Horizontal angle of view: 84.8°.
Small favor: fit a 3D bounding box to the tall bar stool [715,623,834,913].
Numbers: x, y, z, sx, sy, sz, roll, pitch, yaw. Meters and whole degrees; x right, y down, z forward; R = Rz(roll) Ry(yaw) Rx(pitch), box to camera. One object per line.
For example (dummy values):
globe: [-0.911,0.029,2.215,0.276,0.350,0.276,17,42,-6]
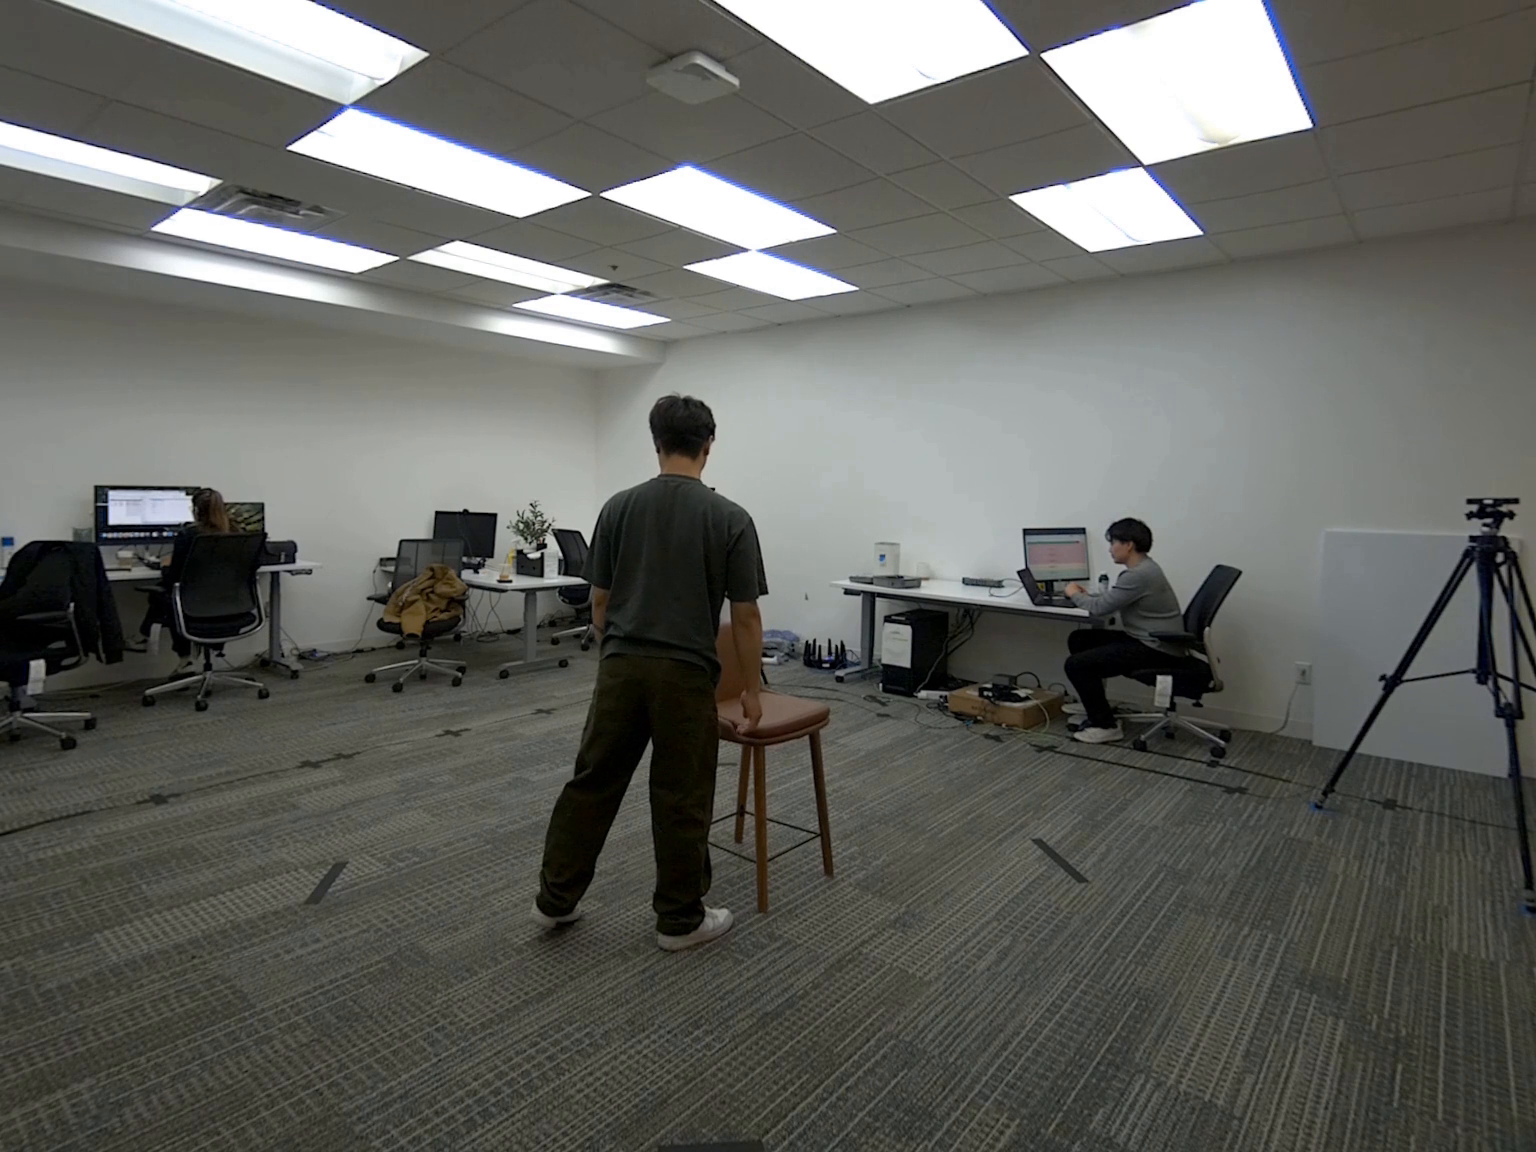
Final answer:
tall bar stool: [-0.062,0.638,3.067,0.483,0.889,0.442,1,1,41]
